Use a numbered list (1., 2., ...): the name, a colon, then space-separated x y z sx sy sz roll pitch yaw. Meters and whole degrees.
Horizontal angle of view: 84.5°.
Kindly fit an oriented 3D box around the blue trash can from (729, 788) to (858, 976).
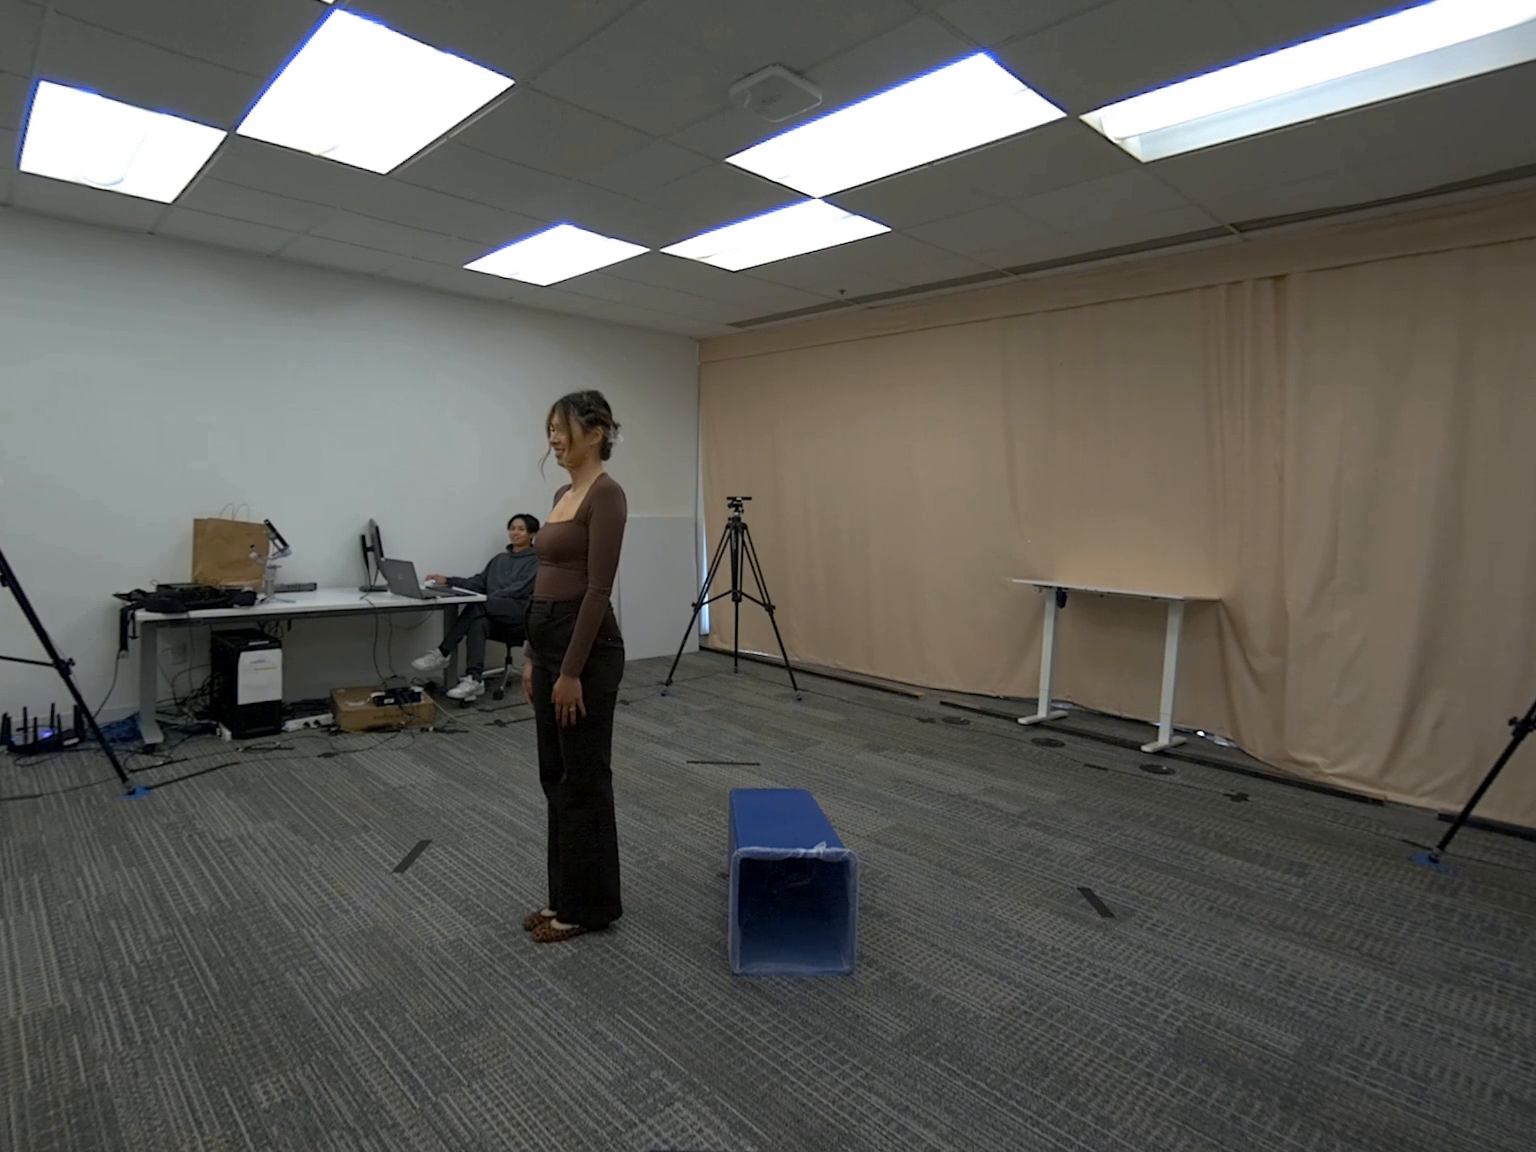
1. blue trash can: 0.033 0.975 2.812 0.372 0.378 0.718 0 2 -7
